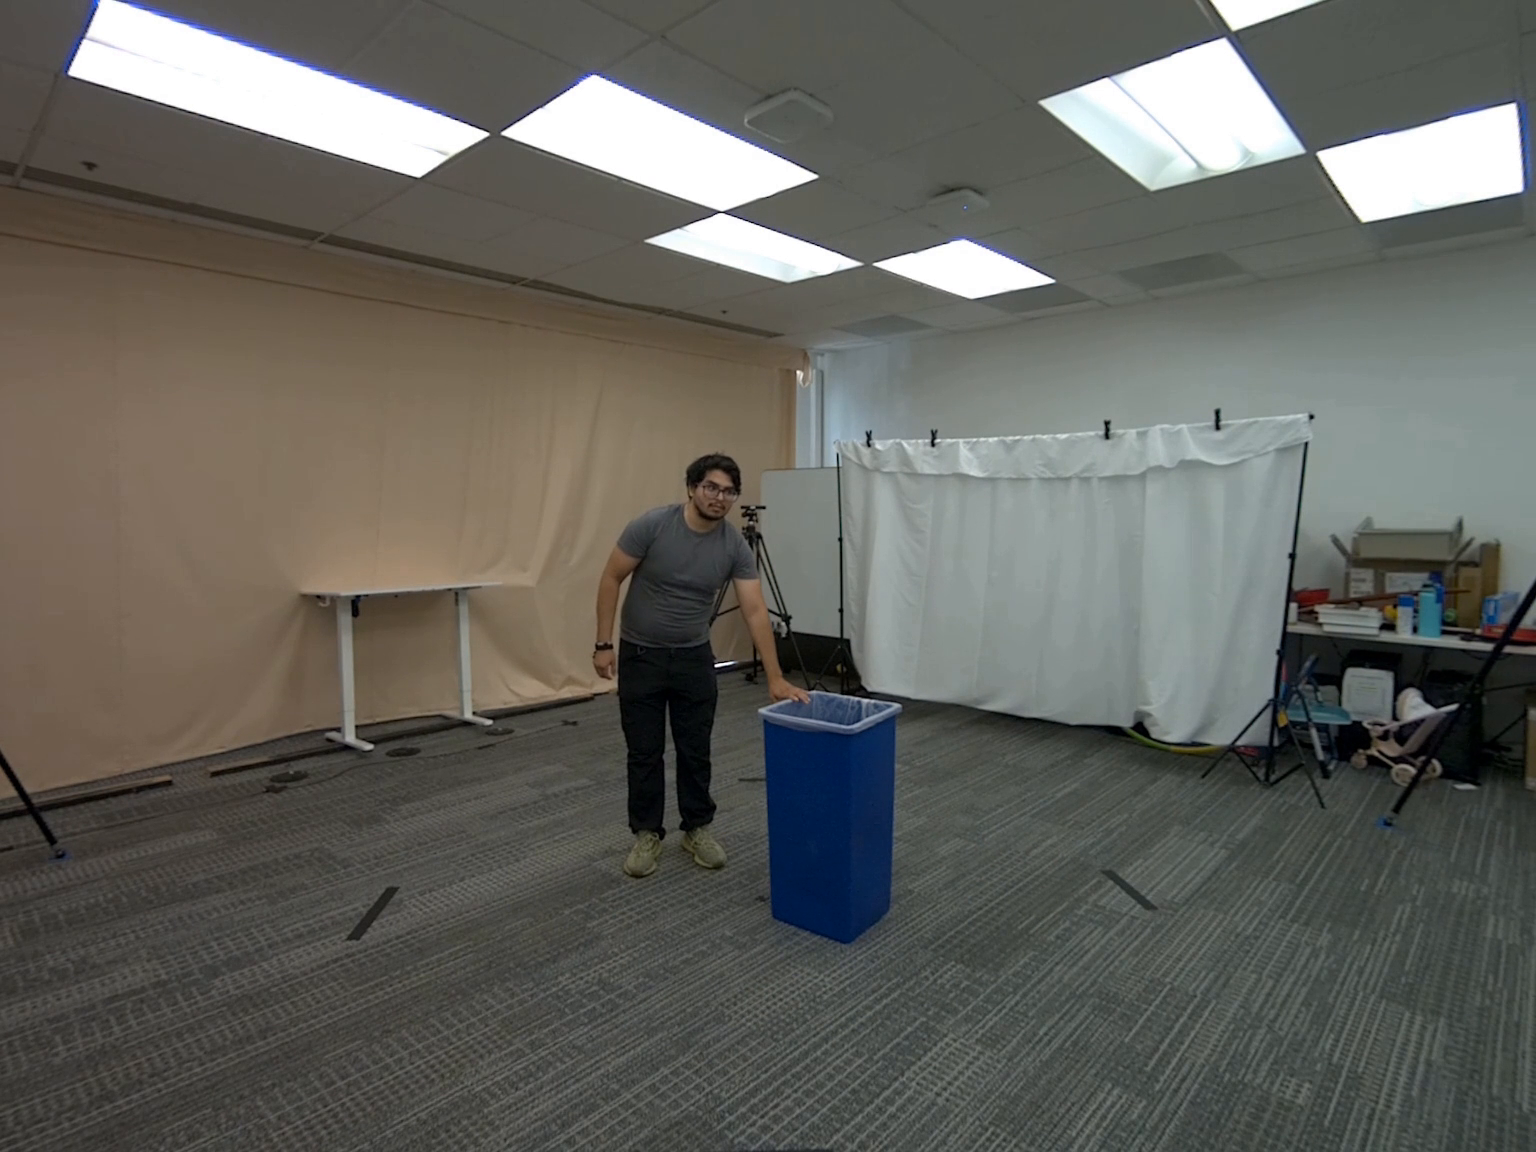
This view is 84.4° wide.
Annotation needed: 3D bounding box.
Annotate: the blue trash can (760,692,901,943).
[{"bbox_3d":[0.215,0.796,2.846,0.390,0.712,0.363,2,4,37],"label":"blue trash can"}]
